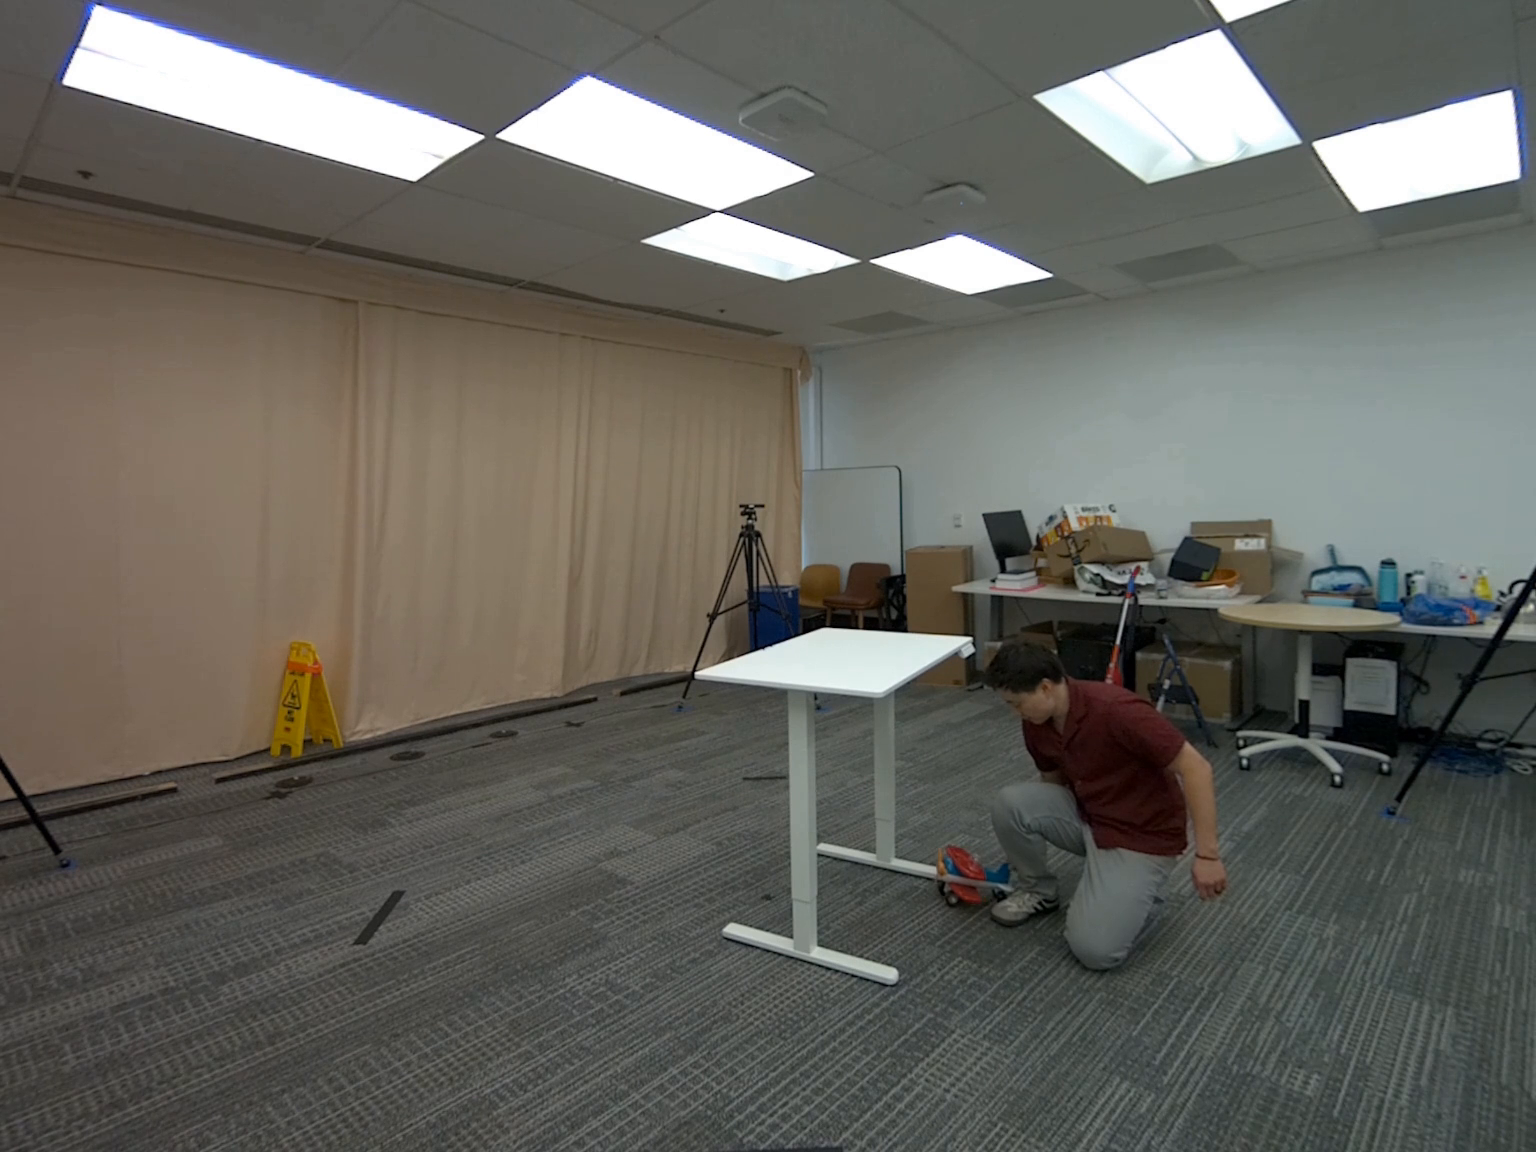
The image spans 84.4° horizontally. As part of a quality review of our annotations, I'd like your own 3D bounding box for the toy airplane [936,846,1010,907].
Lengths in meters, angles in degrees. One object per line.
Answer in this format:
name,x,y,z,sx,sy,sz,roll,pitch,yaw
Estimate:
toy airplane,0.715,1.055,2.961,0.252,0.156,0.259,-4,7,-32
